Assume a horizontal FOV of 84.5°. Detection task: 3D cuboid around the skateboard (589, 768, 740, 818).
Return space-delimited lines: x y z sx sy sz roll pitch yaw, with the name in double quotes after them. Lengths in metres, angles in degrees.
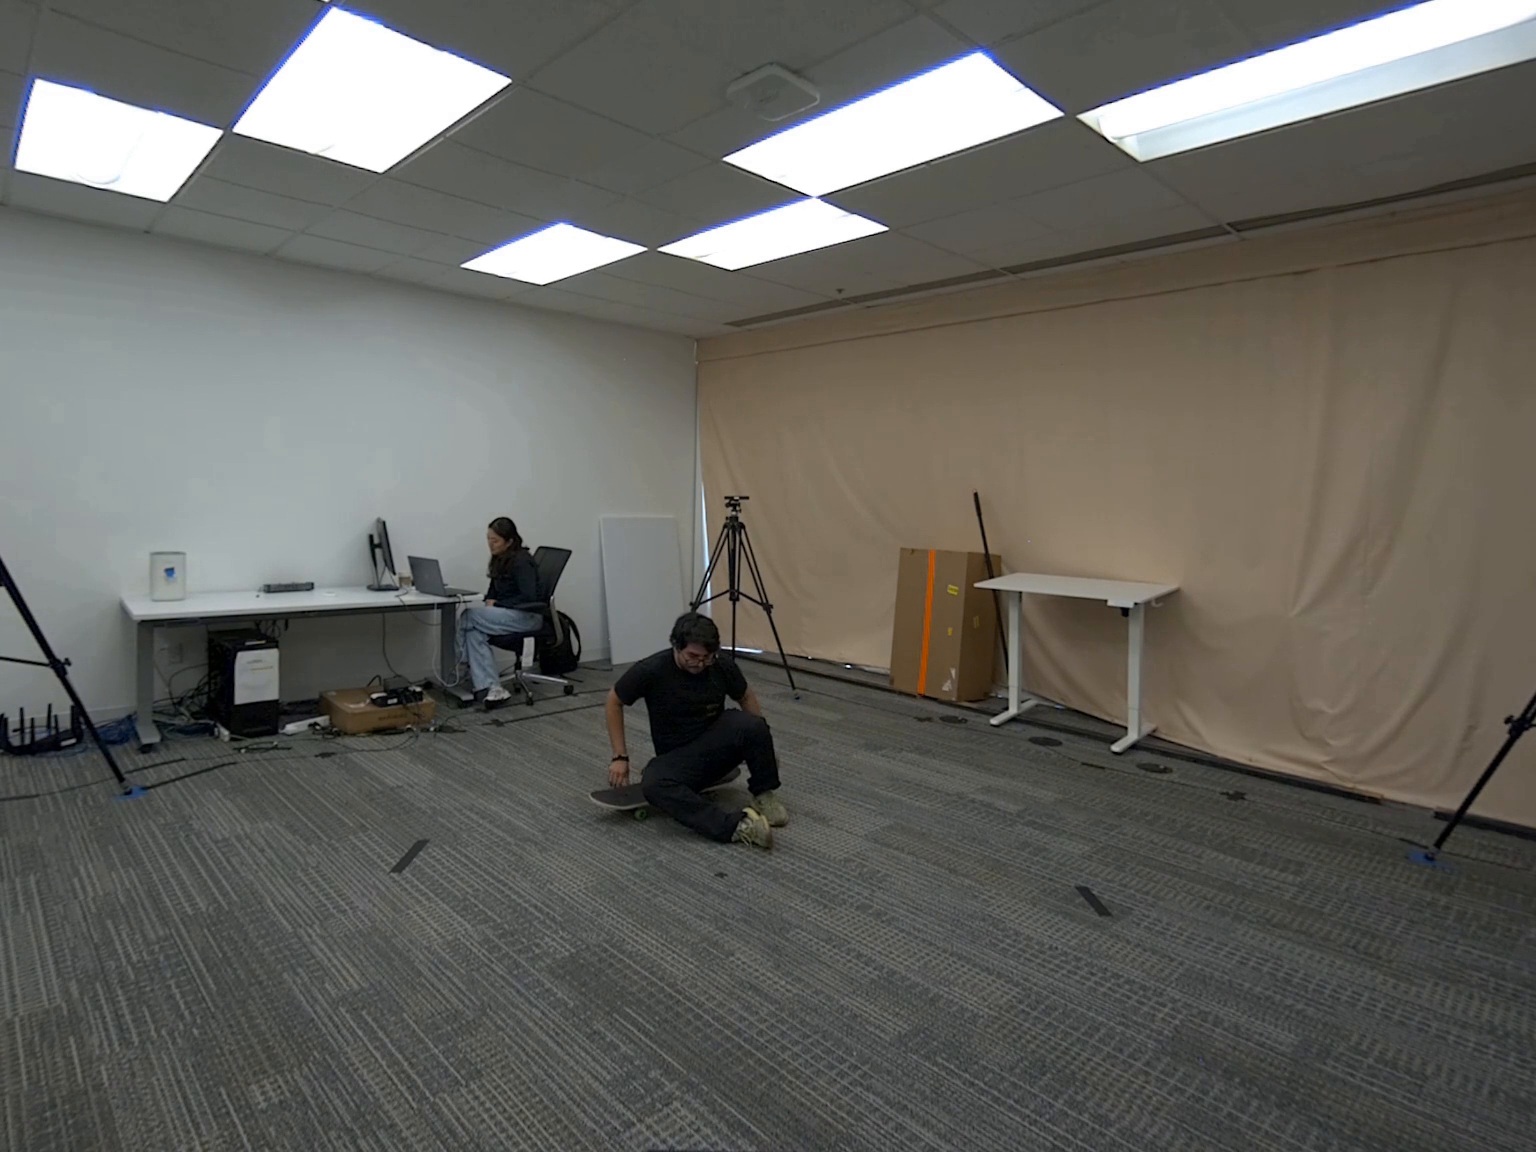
-0.454 0.968 3.795 0.768 0.110 0.199 -2 10 -40 "skateboard"
